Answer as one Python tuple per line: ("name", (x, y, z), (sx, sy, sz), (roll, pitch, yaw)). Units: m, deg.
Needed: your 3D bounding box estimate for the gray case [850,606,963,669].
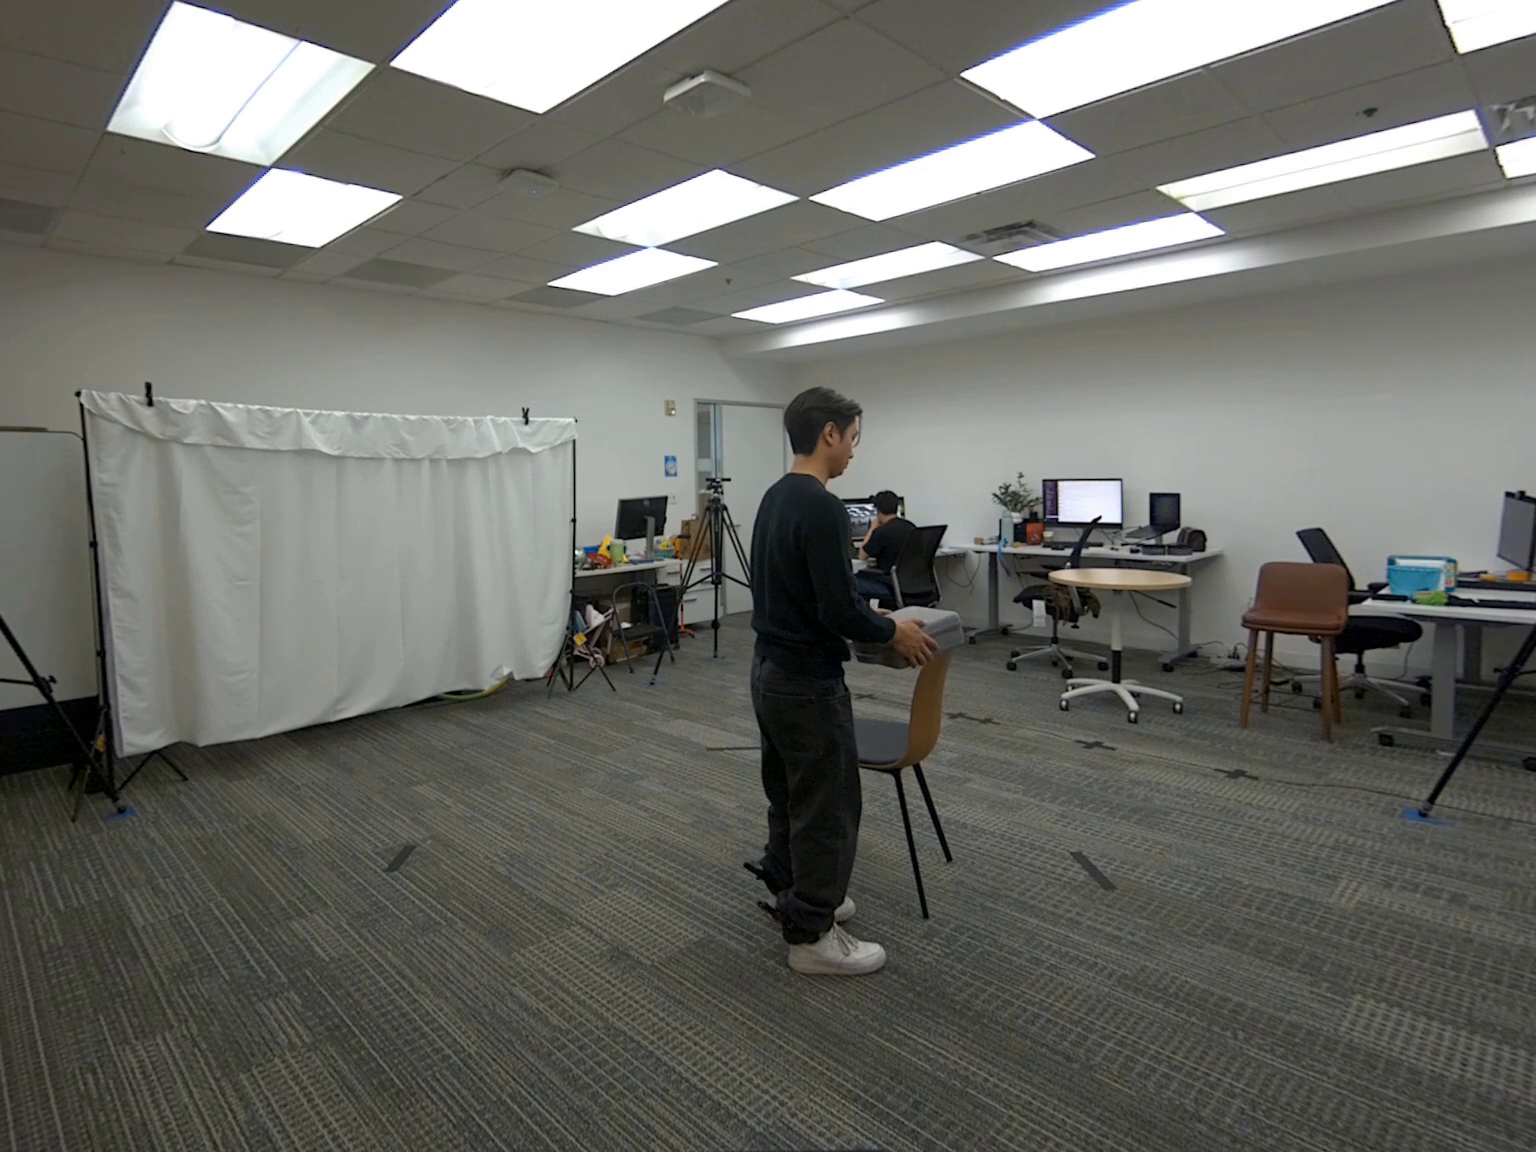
("gray case", (0.393, 0.179, 2.556), (0.257, 0.103, 0.263), (-17, 11, -21))
